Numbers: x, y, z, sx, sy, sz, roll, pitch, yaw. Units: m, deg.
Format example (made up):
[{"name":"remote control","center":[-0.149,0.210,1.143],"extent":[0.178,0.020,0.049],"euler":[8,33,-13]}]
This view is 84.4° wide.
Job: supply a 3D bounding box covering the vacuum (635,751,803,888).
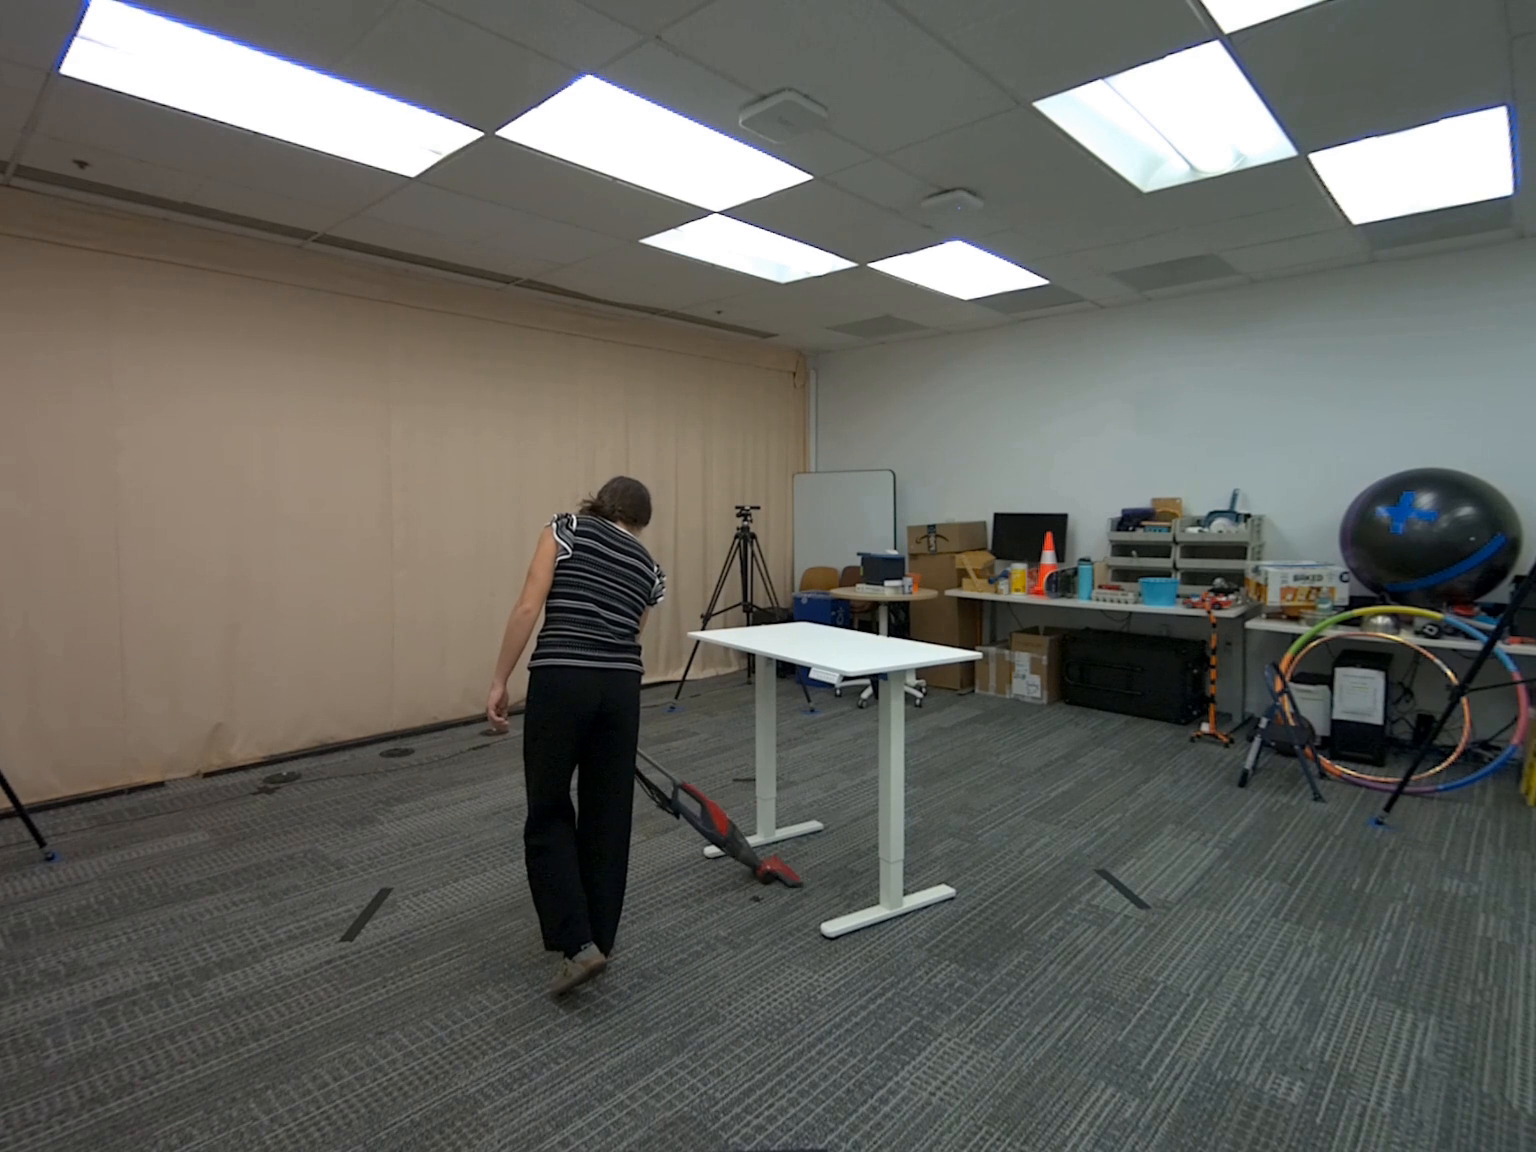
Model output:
[{"name":"vacuum","center":[-0.342,0.783,3.030],"extent":[1.030,0.144,0.258],"euler":[41,-27,-15]}]
